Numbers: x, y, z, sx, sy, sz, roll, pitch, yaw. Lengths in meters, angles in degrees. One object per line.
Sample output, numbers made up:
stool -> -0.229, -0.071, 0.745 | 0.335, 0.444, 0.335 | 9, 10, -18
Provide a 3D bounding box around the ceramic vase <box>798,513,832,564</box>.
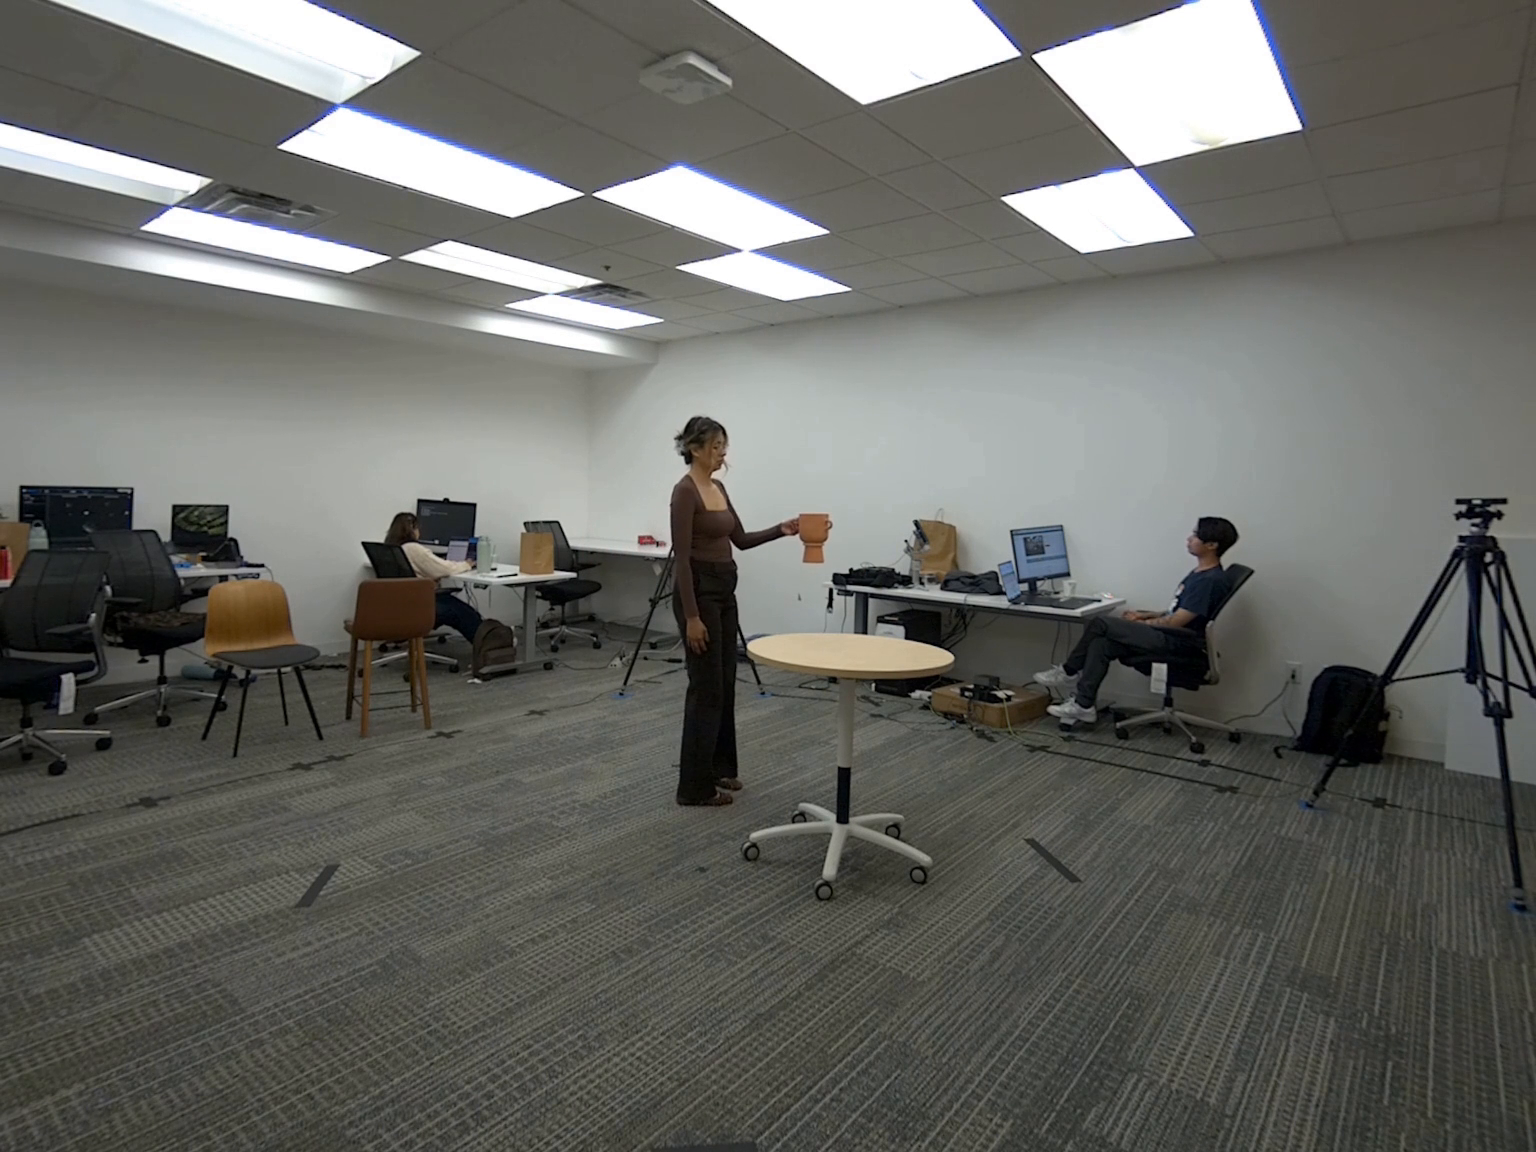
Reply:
ceramic vase -> 0.197, -0.176, 3.836 | 0.133, 0.219, 0.161 | 0, 2, -11
